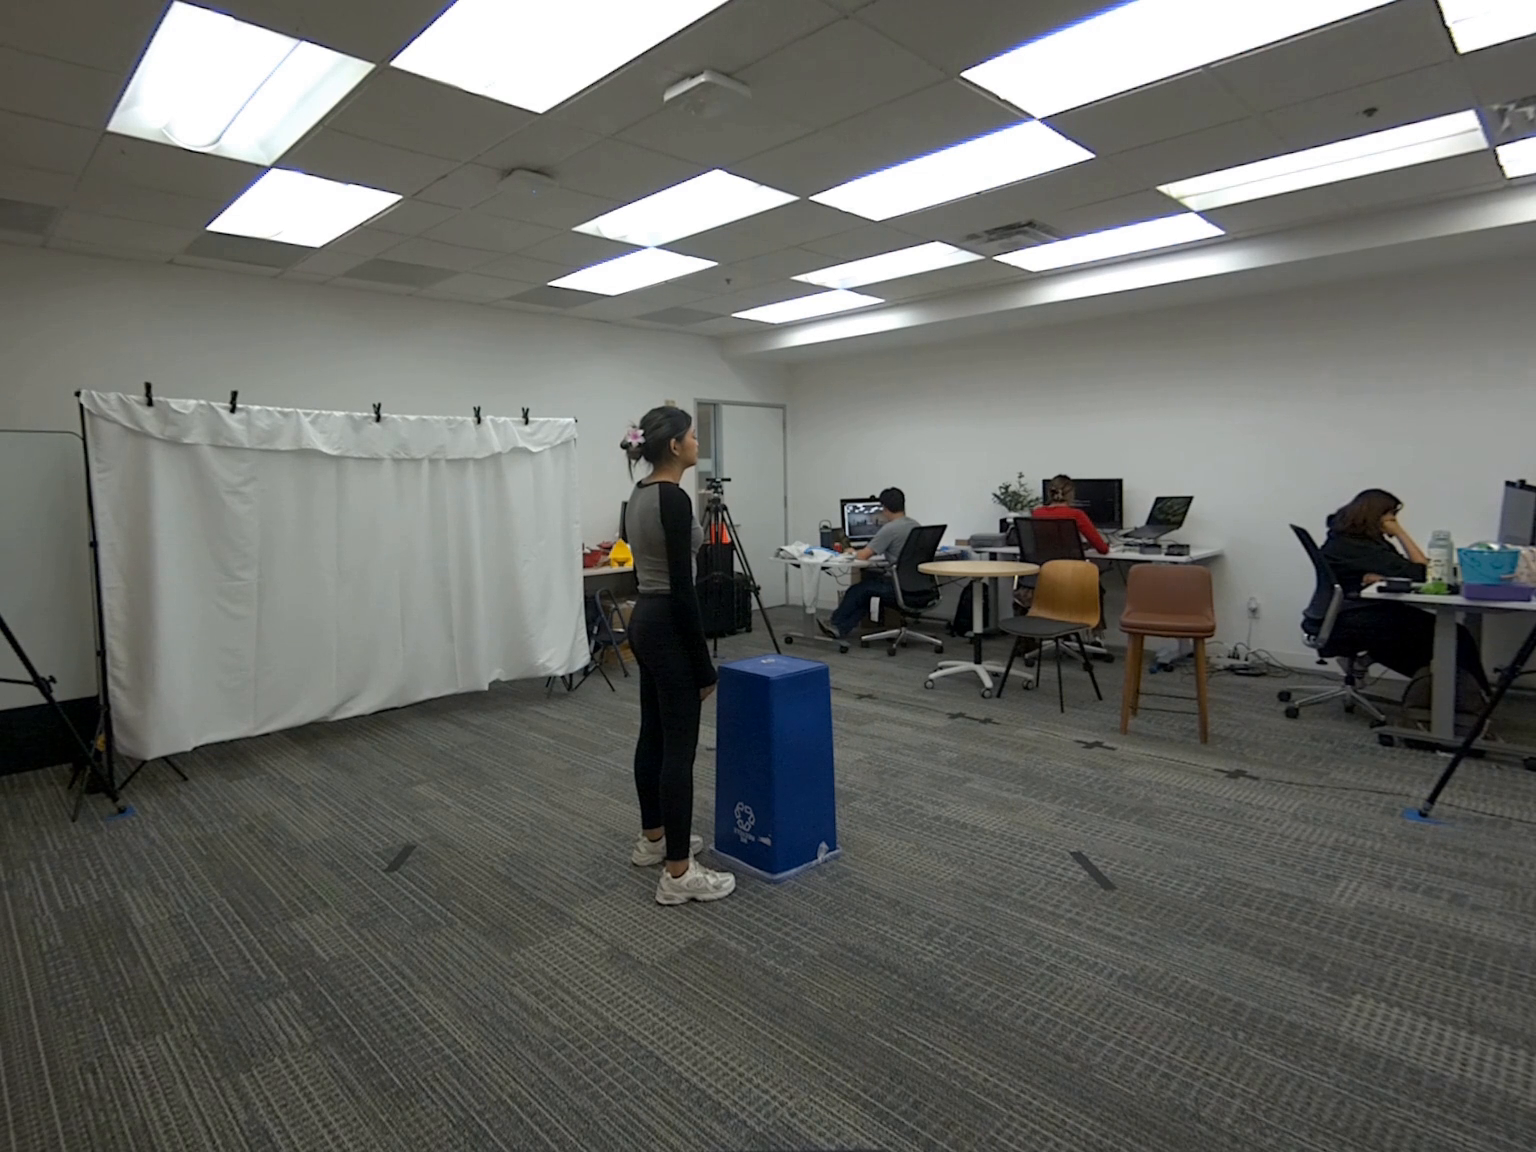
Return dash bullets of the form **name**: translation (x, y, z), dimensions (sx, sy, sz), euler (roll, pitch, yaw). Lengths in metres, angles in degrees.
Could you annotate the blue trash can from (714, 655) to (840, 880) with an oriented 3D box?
- **blue trash can**: translation (0.024, 0.680, 3.176), dimensions (0.368, 0.712, 0.385), euler (-3, 4, -41)
